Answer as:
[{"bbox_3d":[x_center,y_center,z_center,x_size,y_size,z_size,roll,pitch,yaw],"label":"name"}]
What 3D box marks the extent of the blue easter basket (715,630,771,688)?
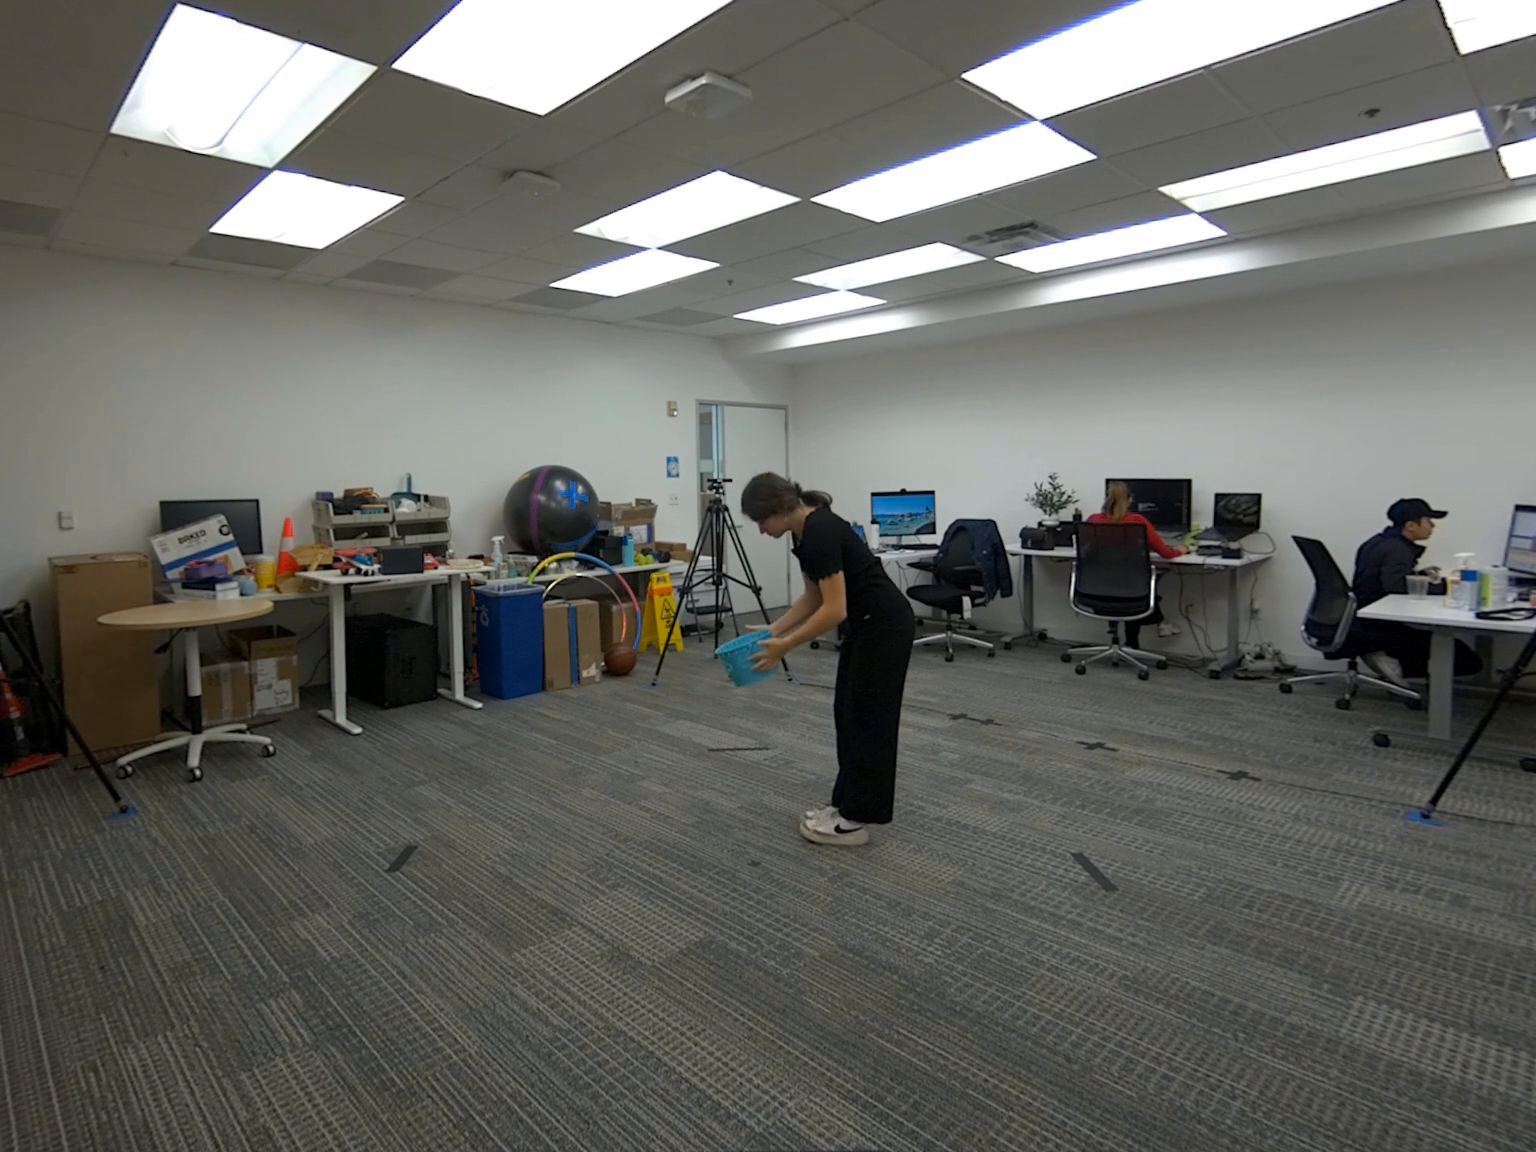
[{"bbox_3d":[-0.071,0.316,3.273,0.243,0.155,0.244,-20,4,-1],"label":"blue easter basket"}]
